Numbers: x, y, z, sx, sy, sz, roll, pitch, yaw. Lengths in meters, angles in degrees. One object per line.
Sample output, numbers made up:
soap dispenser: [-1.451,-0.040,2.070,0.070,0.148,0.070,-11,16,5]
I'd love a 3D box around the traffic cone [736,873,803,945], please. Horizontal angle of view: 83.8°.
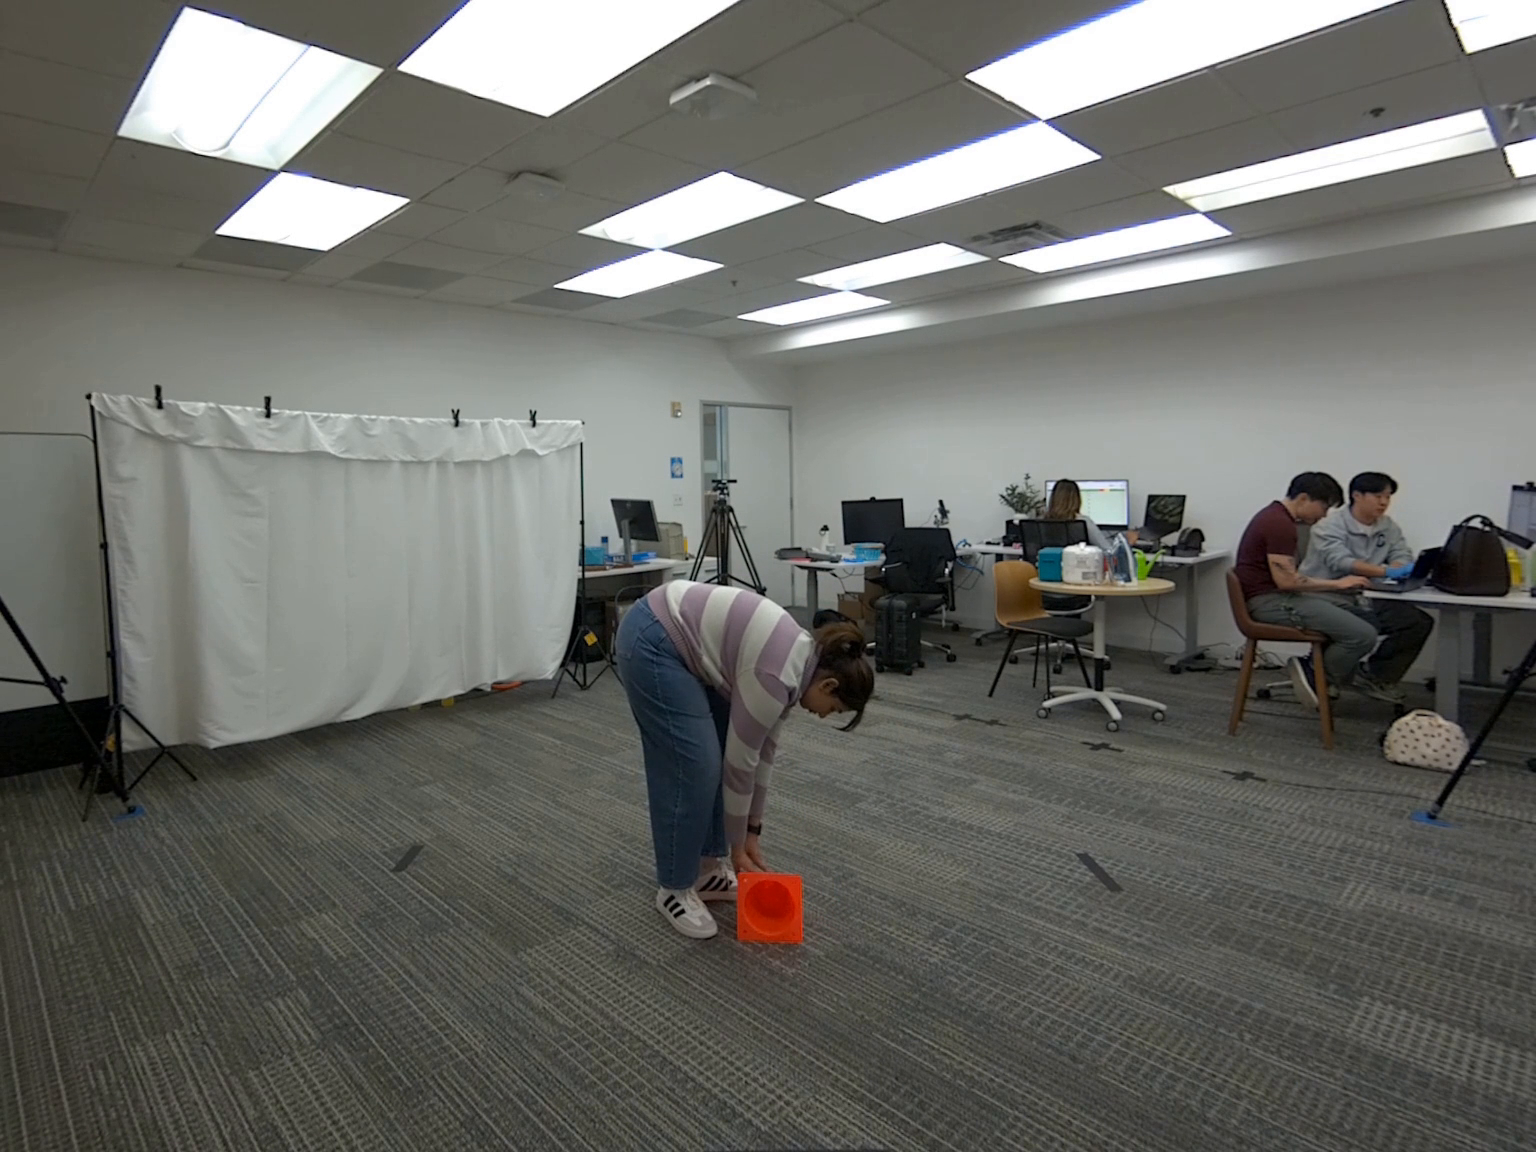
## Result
traffic cone: [0.030,1.019,2.783,0.207,0.204,0.378,1,-5,8]
